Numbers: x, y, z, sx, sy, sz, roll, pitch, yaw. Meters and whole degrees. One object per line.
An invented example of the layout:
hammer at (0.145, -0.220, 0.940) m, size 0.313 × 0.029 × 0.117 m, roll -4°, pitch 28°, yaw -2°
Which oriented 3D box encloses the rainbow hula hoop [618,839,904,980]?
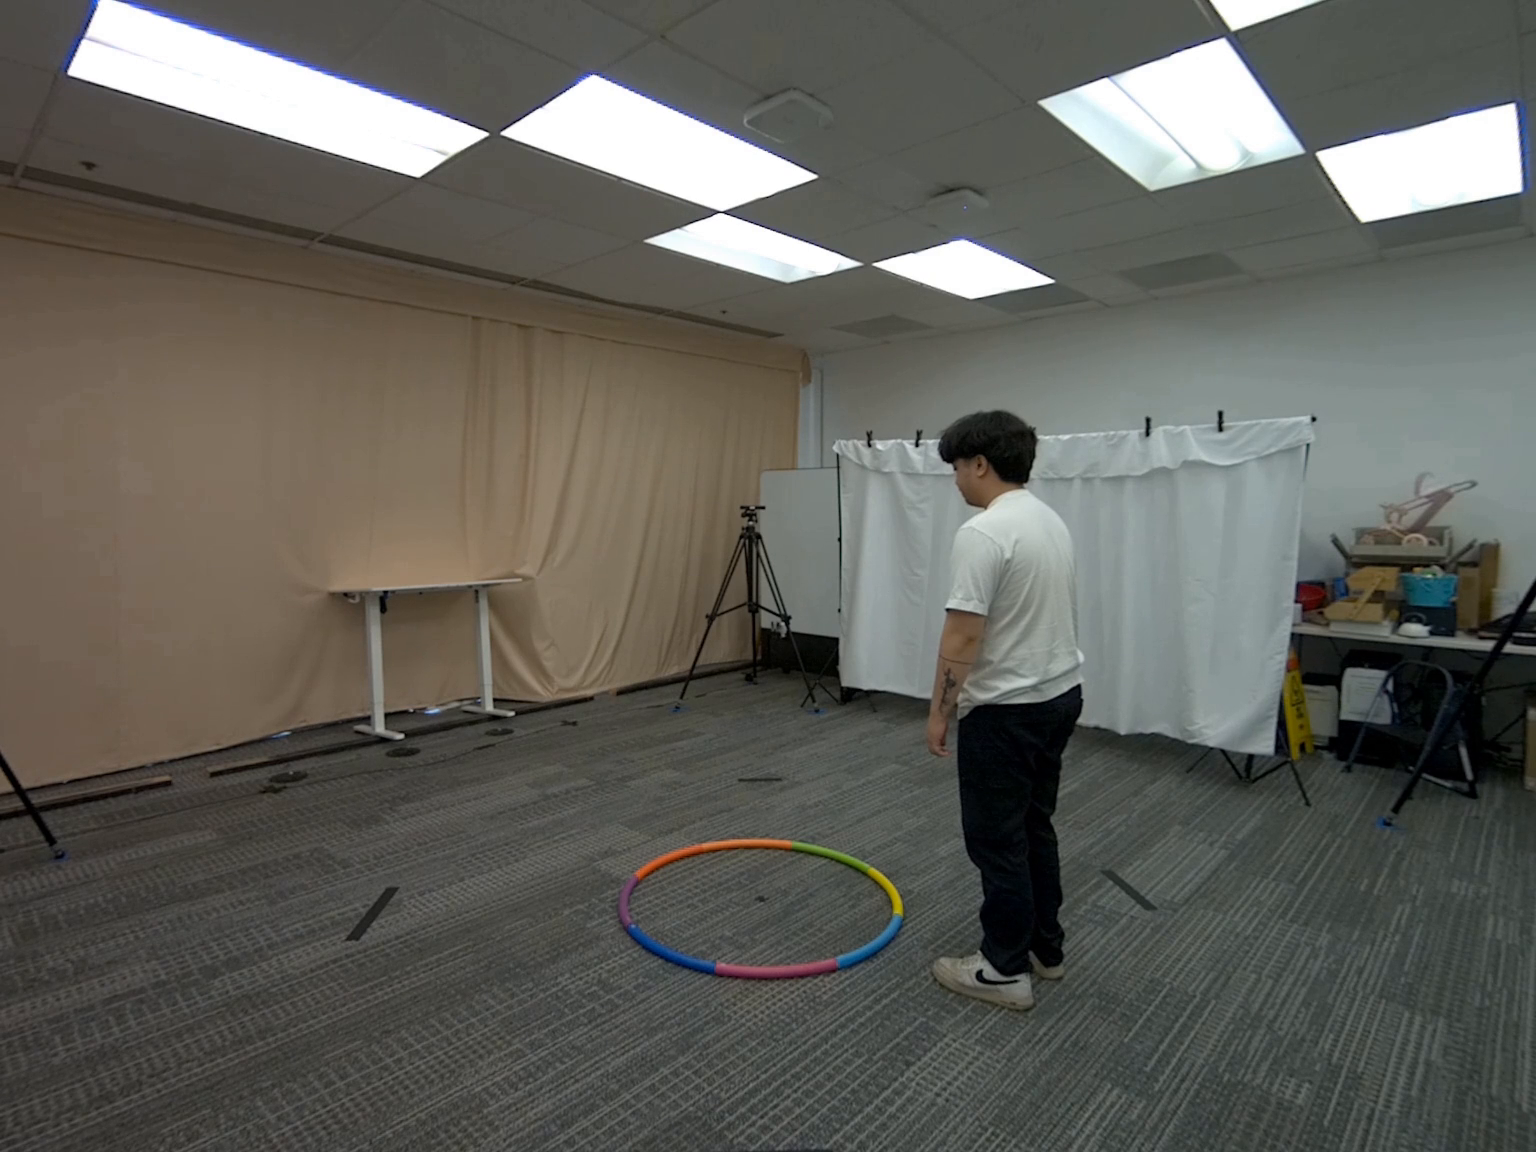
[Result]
rainbow hula hoop at (-0.029, 1.122, 2.953) m, size 0.985 × 0.051 × 0.989 m, roll 0°, pitch 5°, yaw -2°
